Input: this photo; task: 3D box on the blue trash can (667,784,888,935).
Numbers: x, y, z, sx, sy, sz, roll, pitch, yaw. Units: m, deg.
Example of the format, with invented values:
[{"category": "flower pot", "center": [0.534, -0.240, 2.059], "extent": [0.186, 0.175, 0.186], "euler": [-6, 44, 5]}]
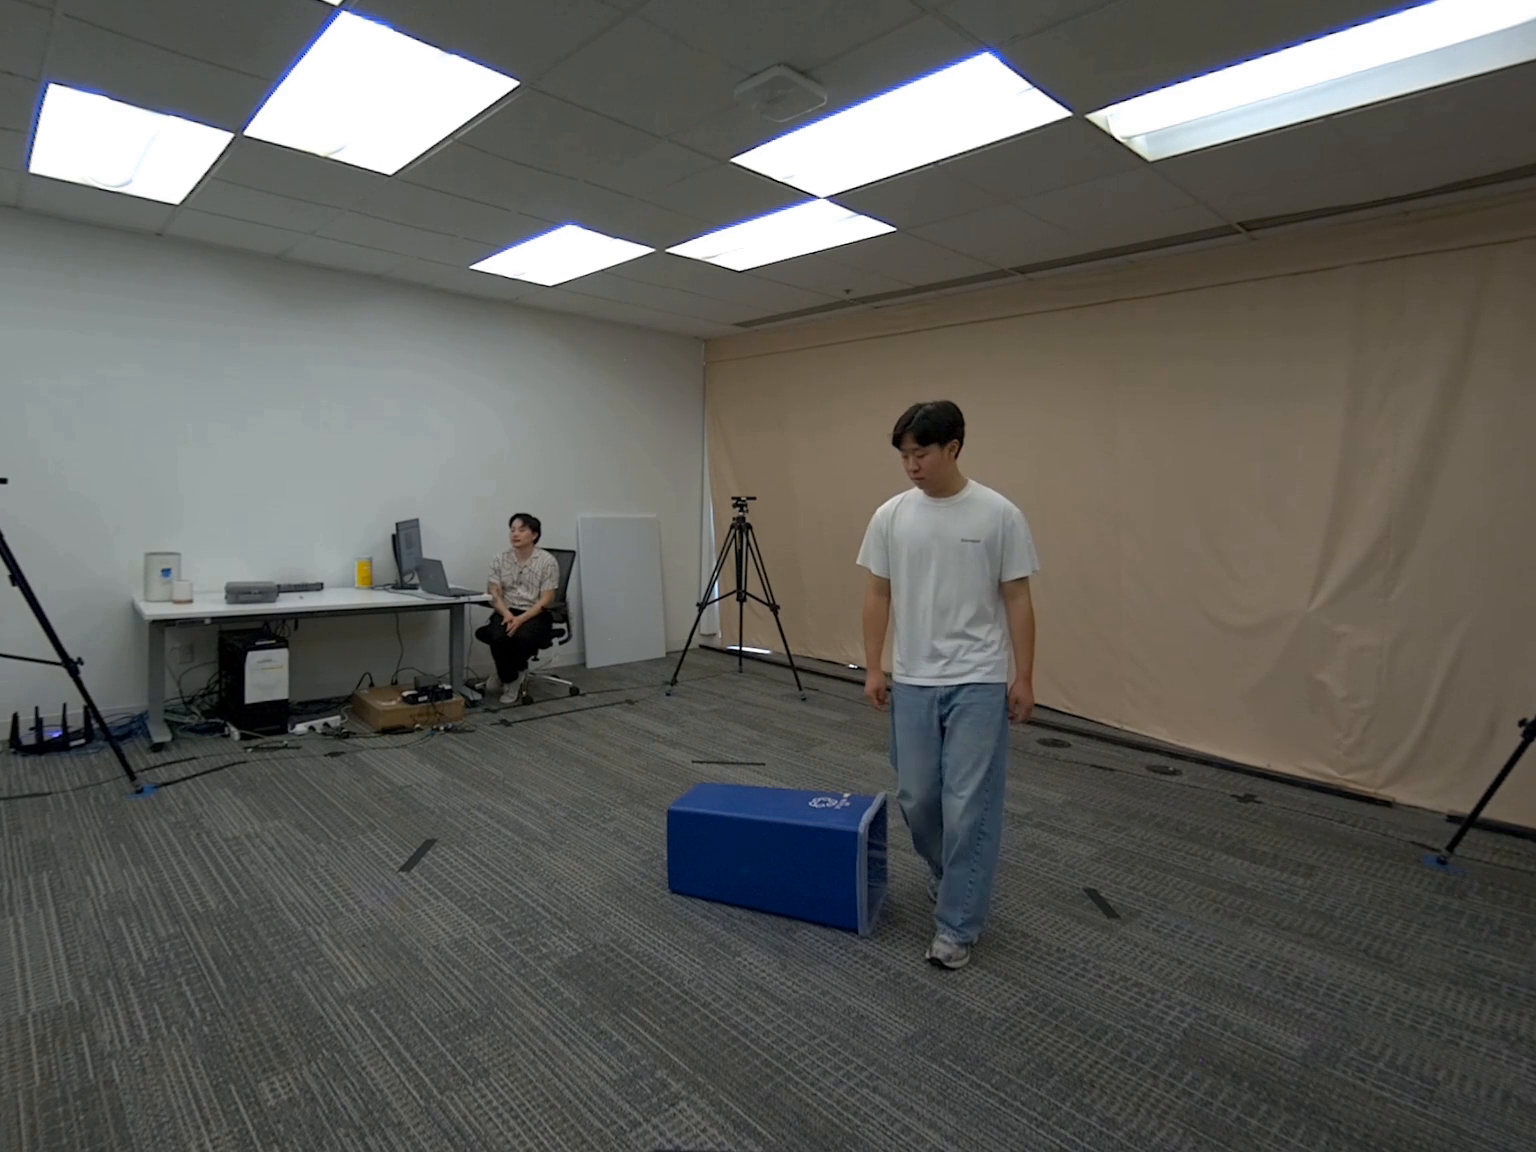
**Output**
[{"category": "blue trash can", "center": [0.022, 0.952, 2.950], "extent": [0.725, 0.377, 0.369], "euler": [1, 4, 21]}]
